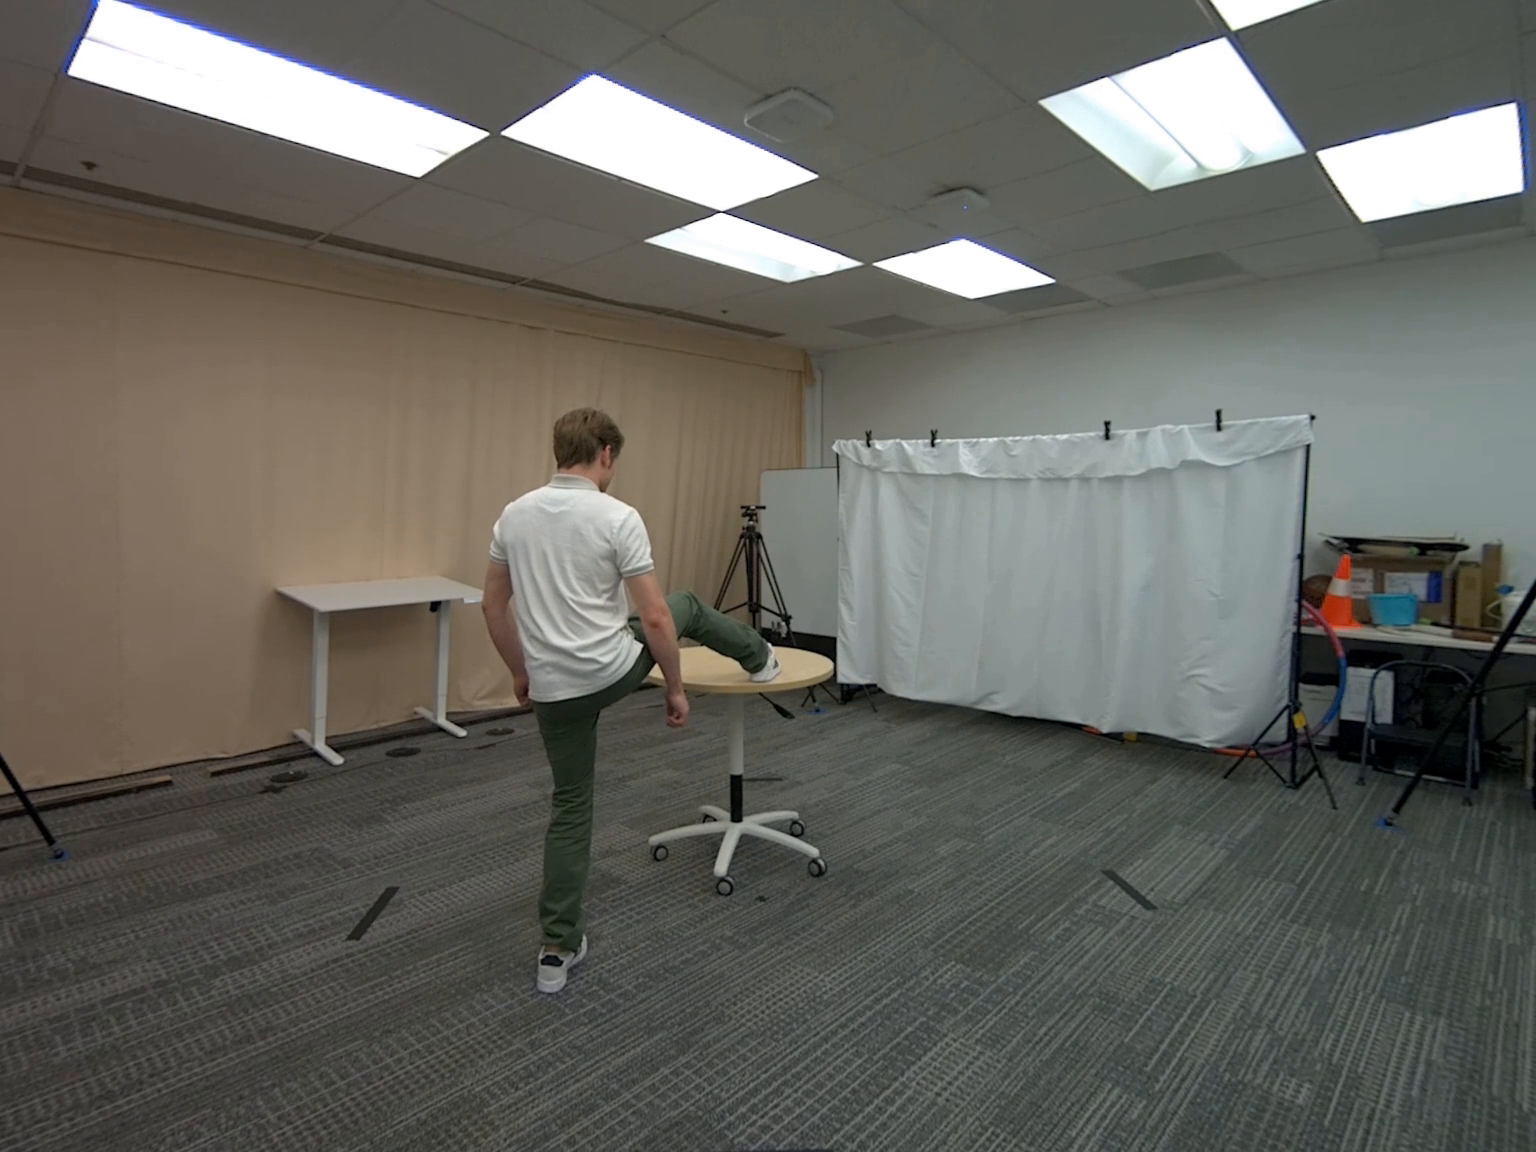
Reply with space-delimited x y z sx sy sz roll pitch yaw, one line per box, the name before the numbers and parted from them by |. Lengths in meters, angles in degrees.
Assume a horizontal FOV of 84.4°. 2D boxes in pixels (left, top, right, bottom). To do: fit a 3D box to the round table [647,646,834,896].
round table | -0.115 0.732 3.336 0.763 0.792 0.767 0 4 -2
